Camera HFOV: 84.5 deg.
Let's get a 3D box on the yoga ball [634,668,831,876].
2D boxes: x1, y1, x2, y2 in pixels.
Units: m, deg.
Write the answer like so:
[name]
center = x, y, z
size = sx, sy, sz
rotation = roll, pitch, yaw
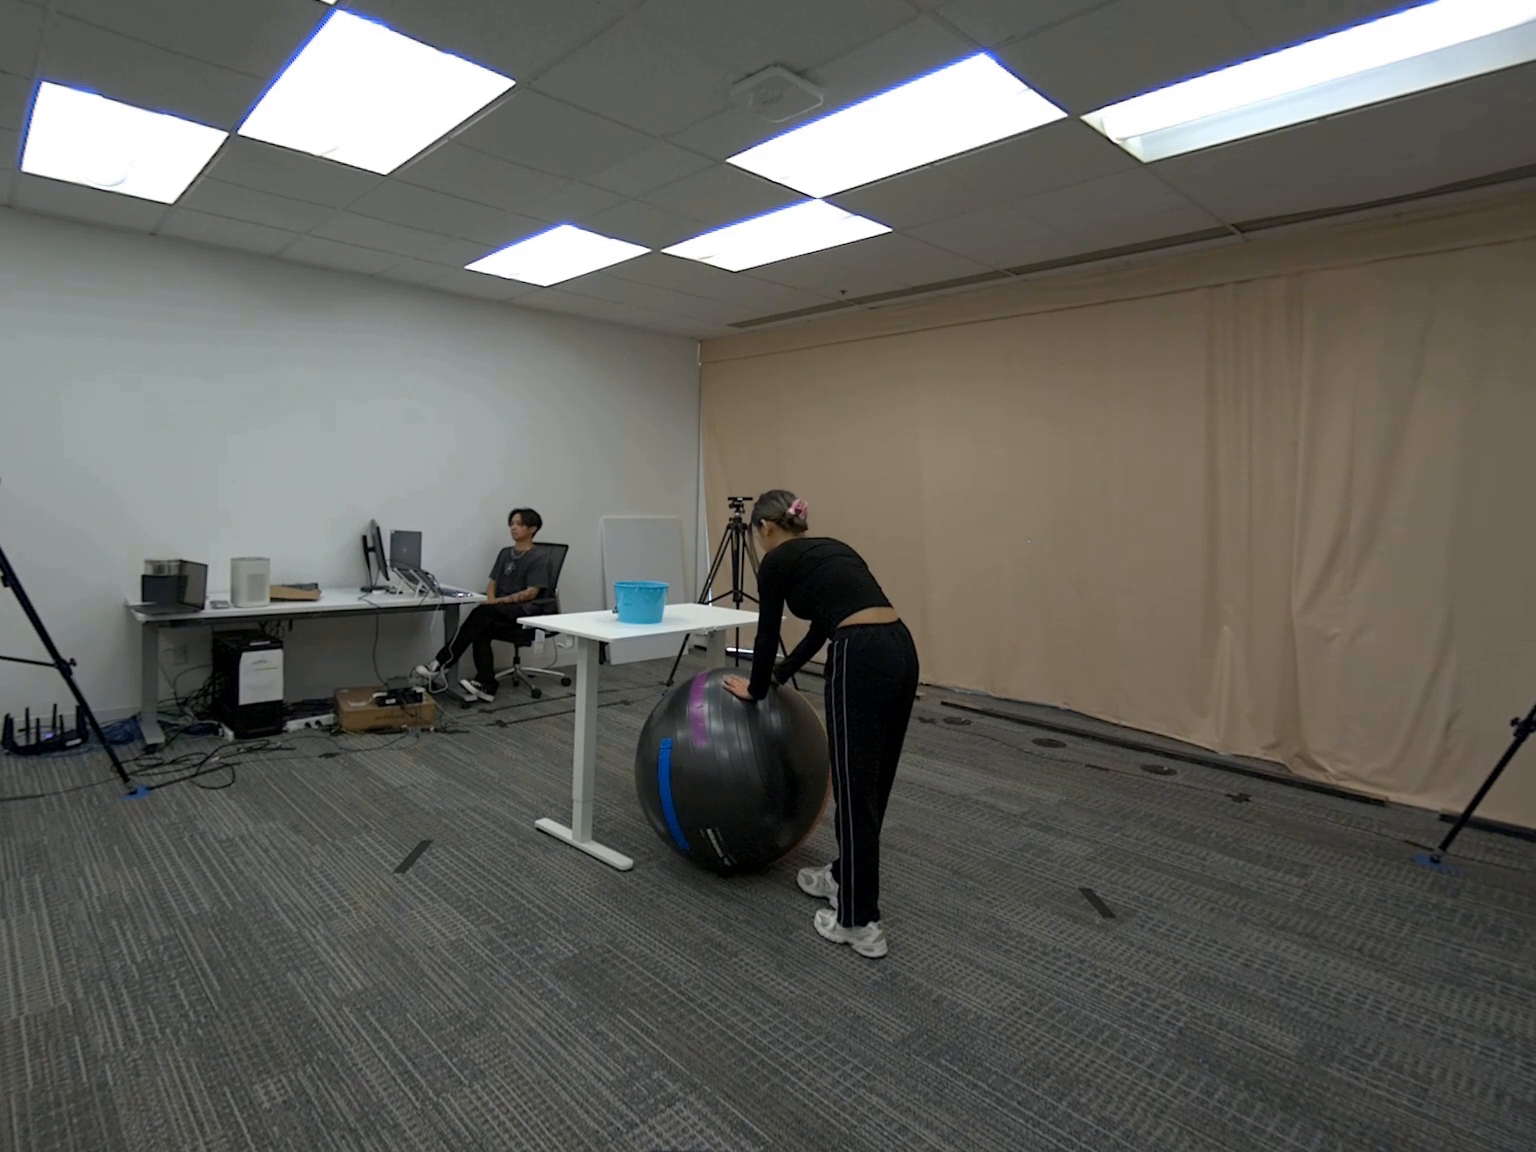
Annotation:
[yoga ball]
center = -0.140, 0.733, 3.246
size = 0.757, 0.756, 0.760
rotation = 1, 4, -1
